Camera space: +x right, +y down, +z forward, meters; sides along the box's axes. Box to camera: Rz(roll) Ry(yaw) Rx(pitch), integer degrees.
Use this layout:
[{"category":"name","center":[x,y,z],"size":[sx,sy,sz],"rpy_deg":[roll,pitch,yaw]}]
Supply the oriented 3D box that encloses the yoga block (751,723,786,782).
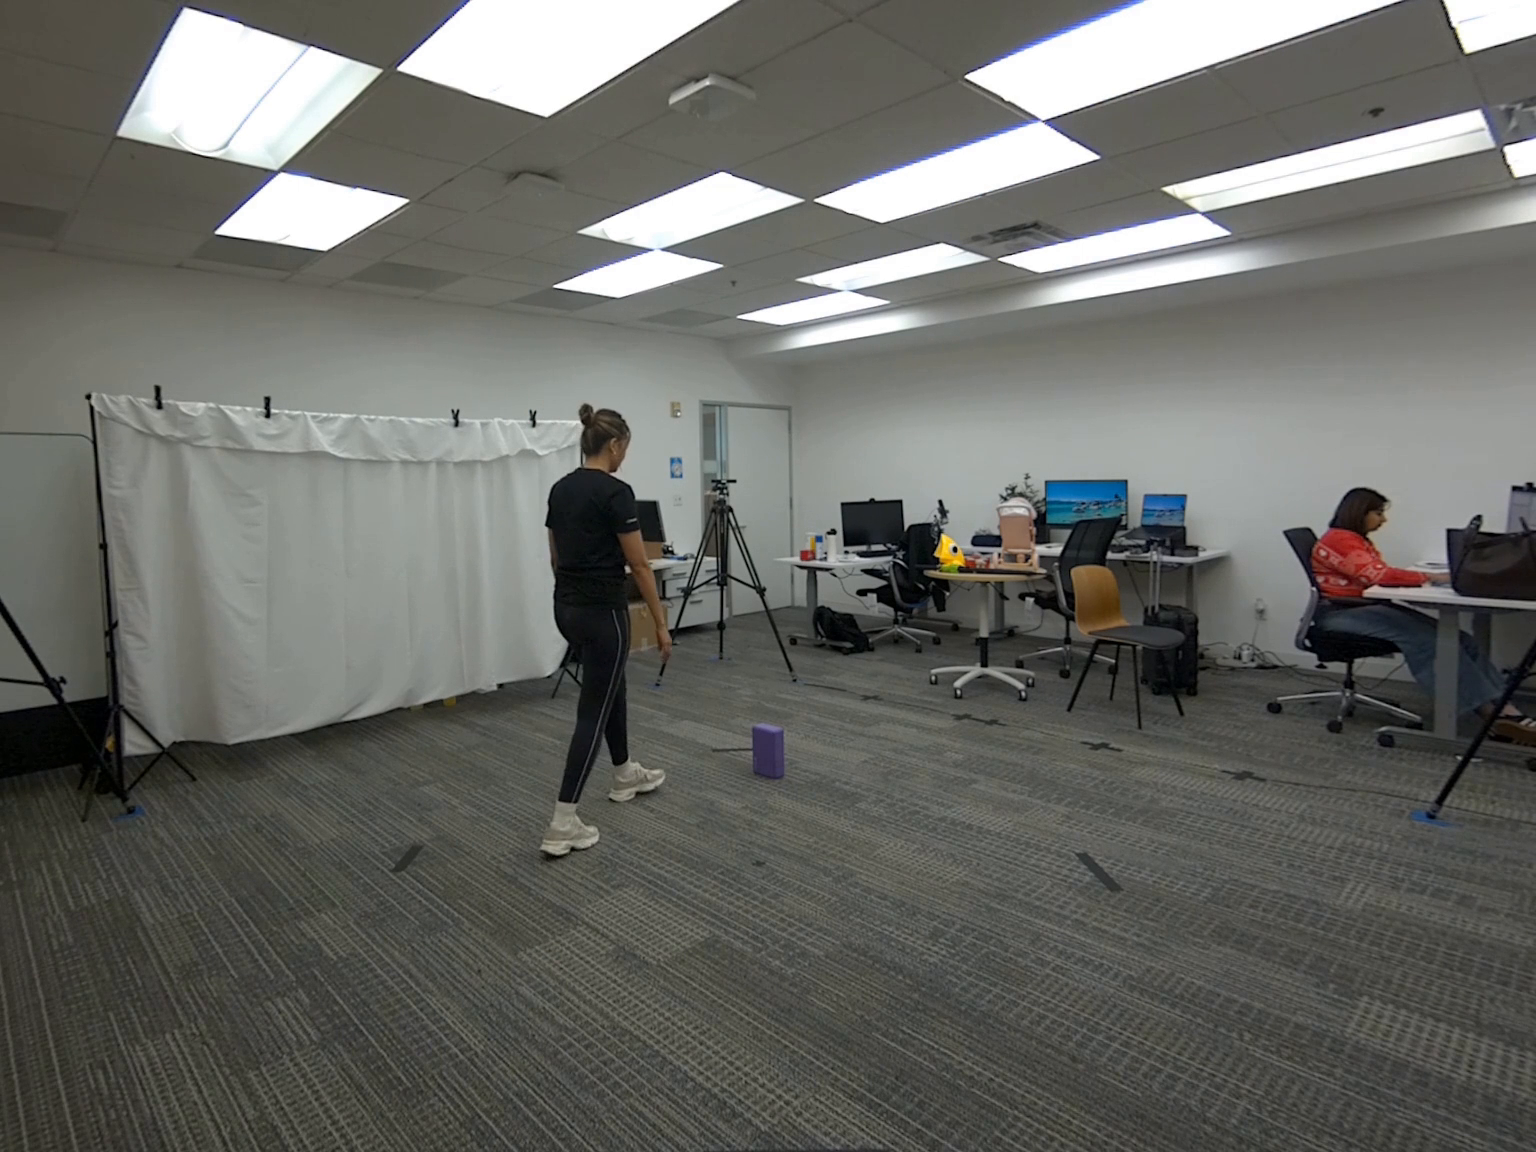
[{"category":"yoga block","center":[0.001,0.826,4.050],"size":[0.153,0.228,0.074],"rpy_deg":[4,6,42]}]
